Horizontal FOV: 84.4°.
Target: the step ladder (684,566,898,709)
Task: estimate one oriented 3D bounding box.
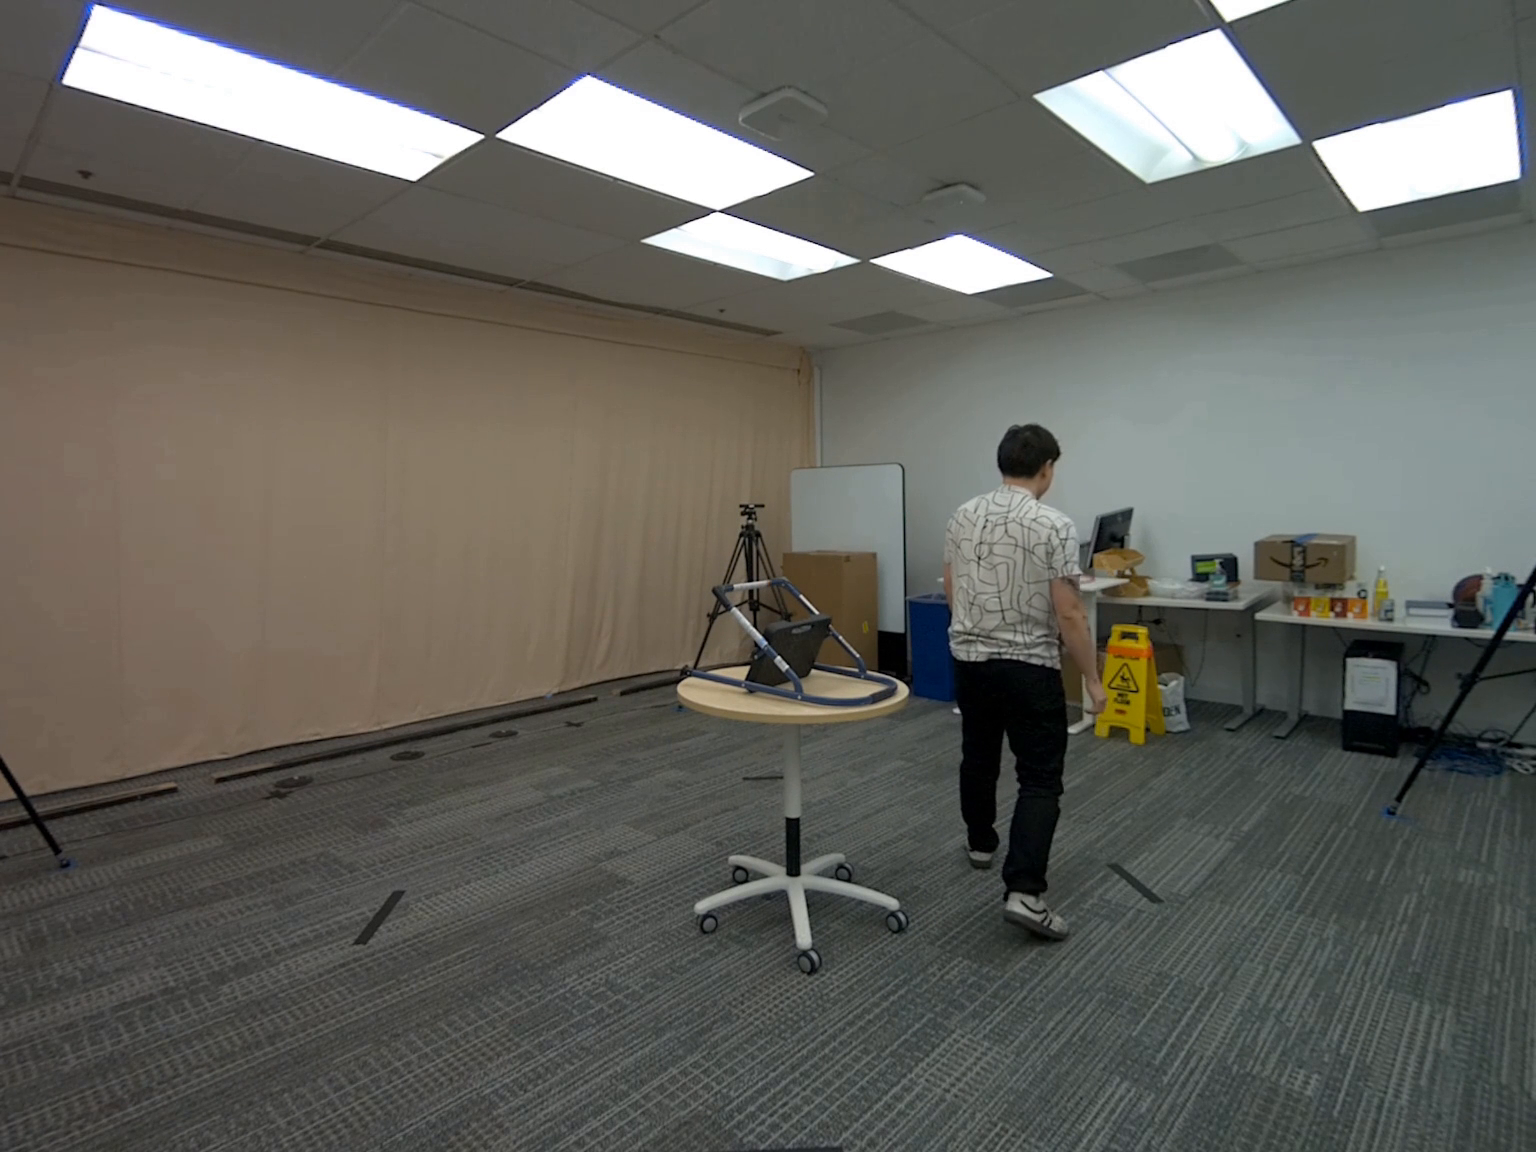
[{"bbox_3d":[0.109,0.306,2.794,0.627,0.348,0.418,31,22,32],"label":"step ladder"}]
